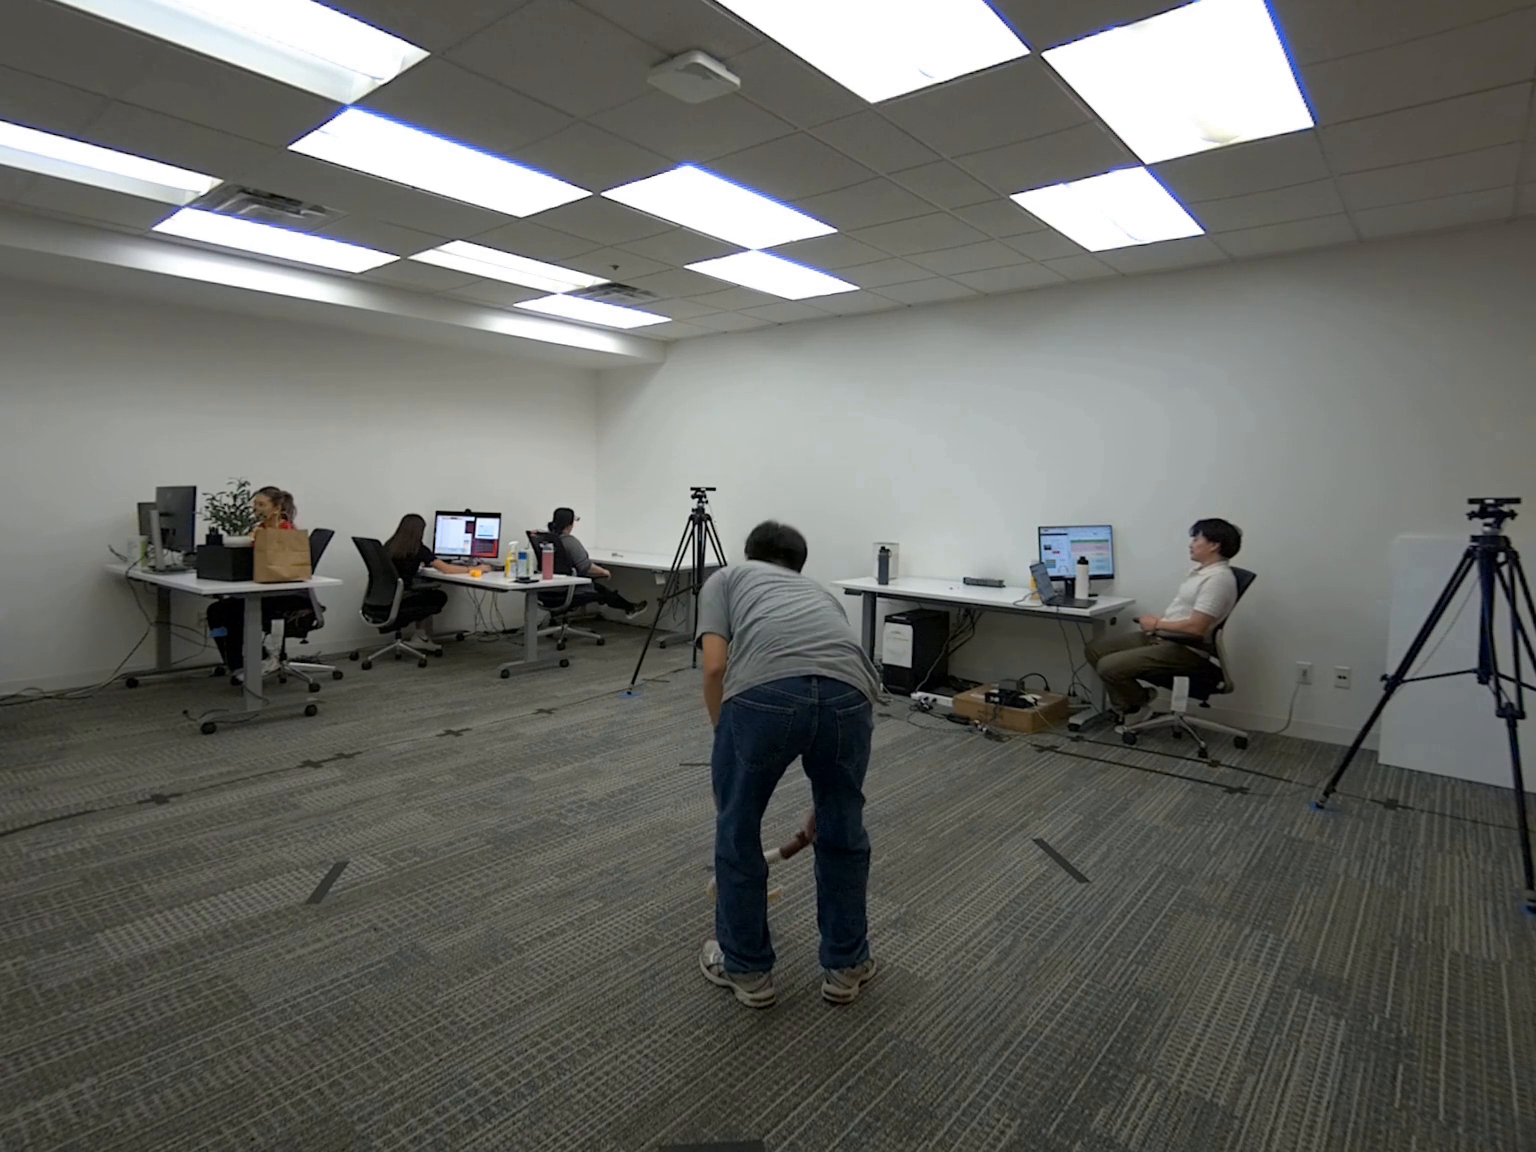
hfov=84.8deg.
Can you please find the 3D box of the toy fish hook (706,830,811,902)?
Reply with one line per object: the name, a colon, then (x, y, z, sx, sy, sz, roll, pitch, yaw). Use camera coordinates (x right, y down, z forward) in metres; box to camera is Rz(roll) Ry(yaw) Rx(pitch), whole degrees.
toy fish hook: (0.031, 0.889, 2.637, 0.216, 0.509, 0.050, 41, 25, -30)
